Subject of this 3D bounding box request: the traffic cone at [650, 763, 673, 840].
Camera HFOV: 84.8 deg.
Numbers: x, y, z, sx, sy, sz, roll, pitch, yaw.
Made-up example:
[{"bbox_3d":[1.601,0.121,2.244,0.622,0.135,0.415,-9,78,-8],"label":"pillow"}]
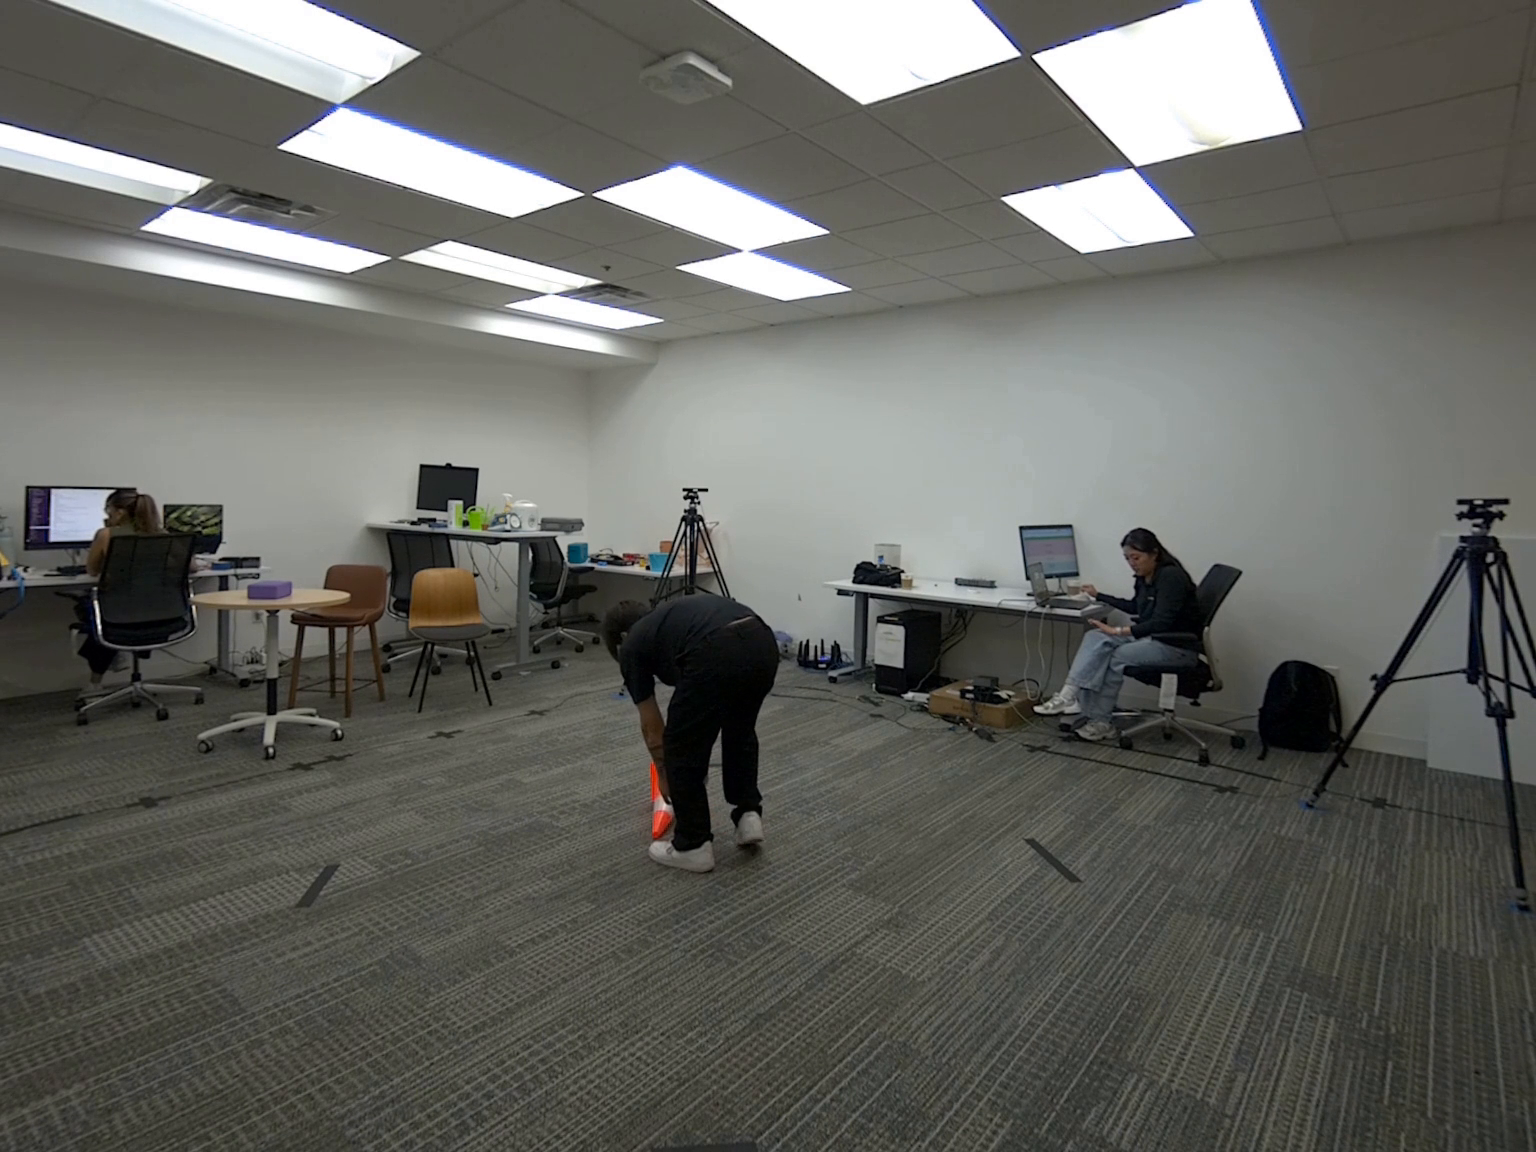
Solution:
[{"bbox_3d":[-0.438,0.971,3.557,0.206,0.200,0.388,1,17,3],"label":"traffic cone"}]
